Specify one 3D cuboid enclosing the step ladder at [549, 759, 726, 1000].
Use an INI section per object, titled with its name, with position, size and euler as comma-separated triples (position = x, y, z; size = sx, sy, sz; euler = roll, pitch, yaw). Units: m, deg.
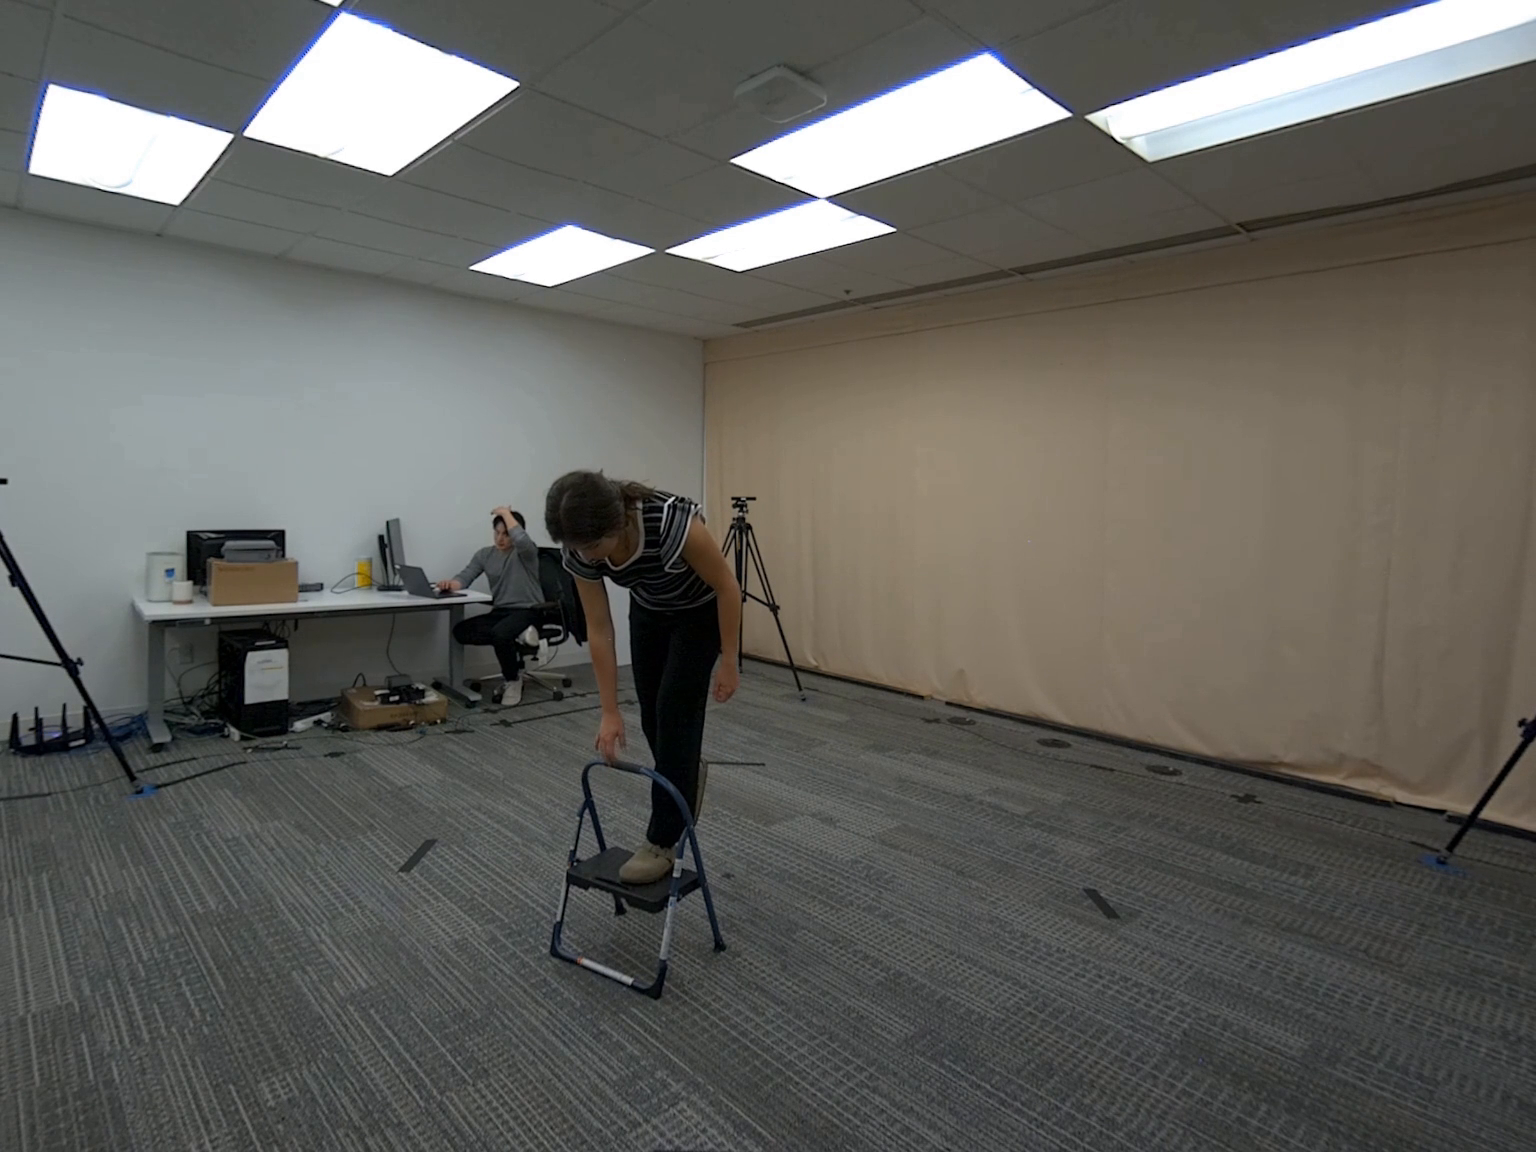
[step ladder]
position = -0.400, 0.852, 2.560
size = 0.440, 0.605, 0.342
euler = 3, 3, 31
